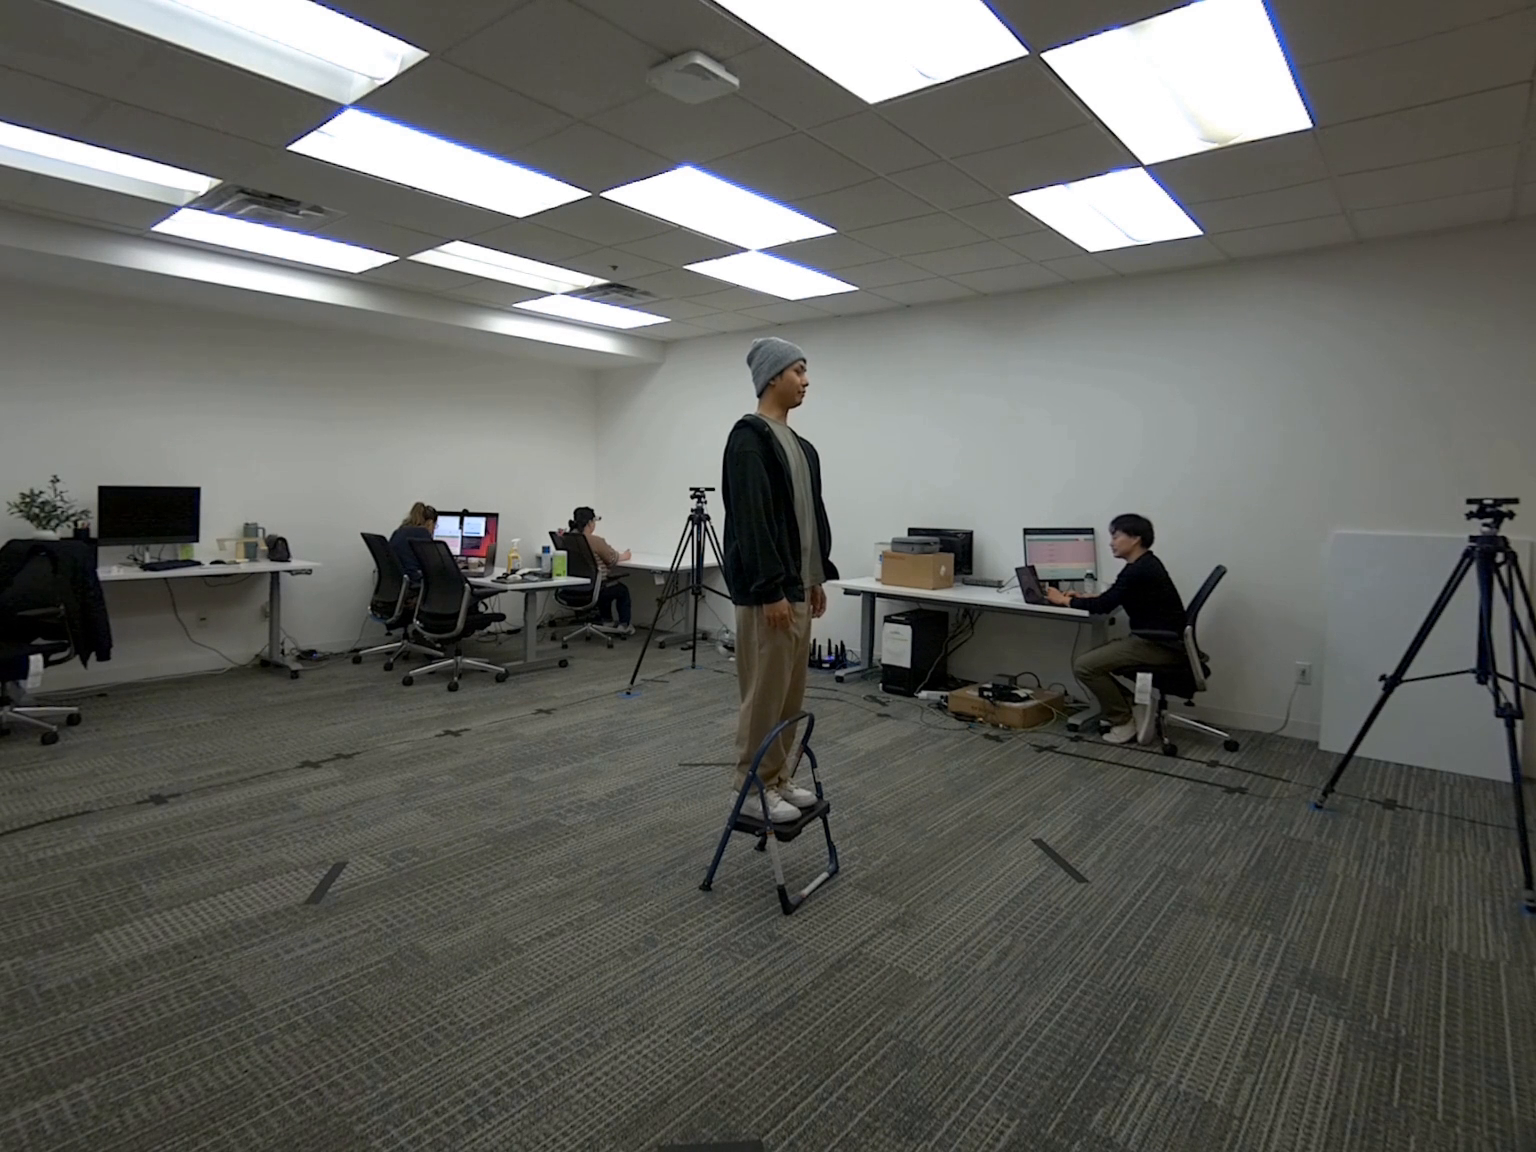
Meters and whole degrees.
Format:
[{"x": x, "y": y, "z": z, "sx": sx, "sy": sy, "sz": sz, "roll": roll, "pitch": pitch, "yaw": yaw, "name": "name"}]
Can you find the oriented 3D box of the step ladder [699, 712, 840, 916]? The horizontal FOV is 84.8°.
[{"x": 0.014, "y": 0.779, "z": 3.016, "sx": 0.359, "sy": 0.604, "sz": 0.420, "roll": 4, "pitch": 4, "yaw": 29, "name": "step ladder"}]
